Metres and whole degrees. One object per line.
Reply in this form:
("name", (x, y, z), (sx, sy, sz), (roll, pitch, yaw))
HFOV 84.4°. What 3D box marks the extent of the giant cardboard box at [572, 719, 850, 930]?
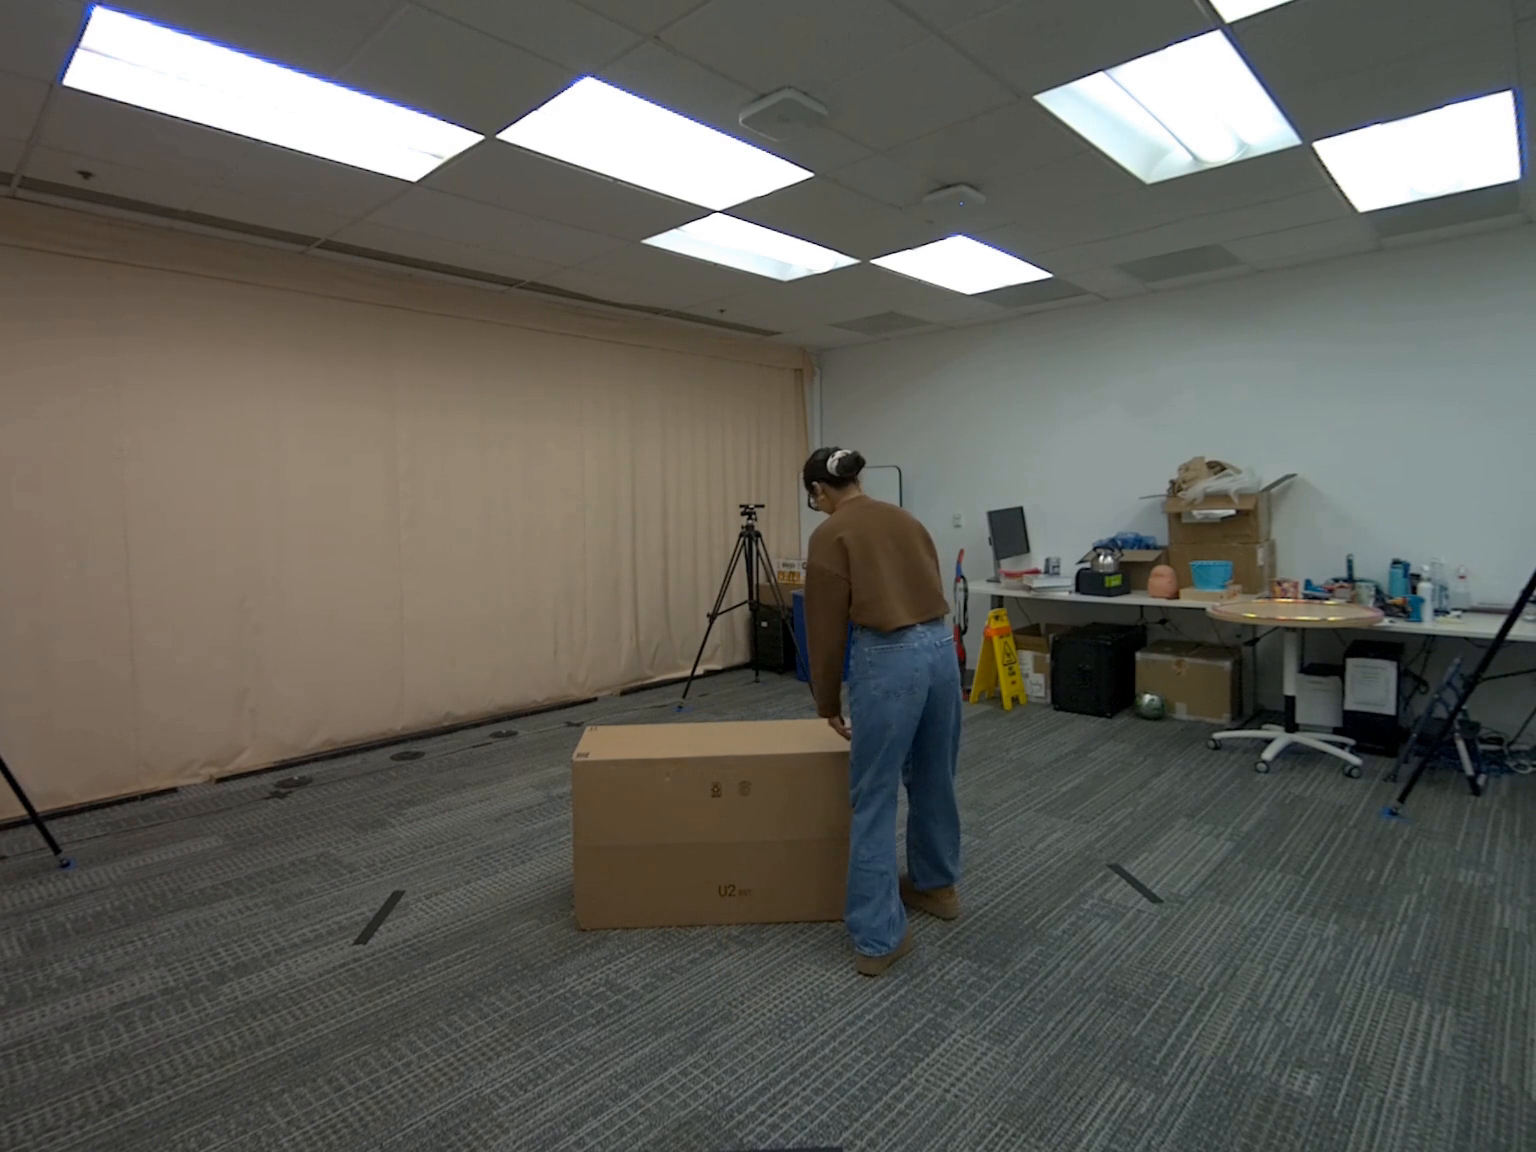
("giant cardboard box", (-0.154, 0.852, 2.999), (1.024, 0.576, 0.428), (-1, 3, -2))
